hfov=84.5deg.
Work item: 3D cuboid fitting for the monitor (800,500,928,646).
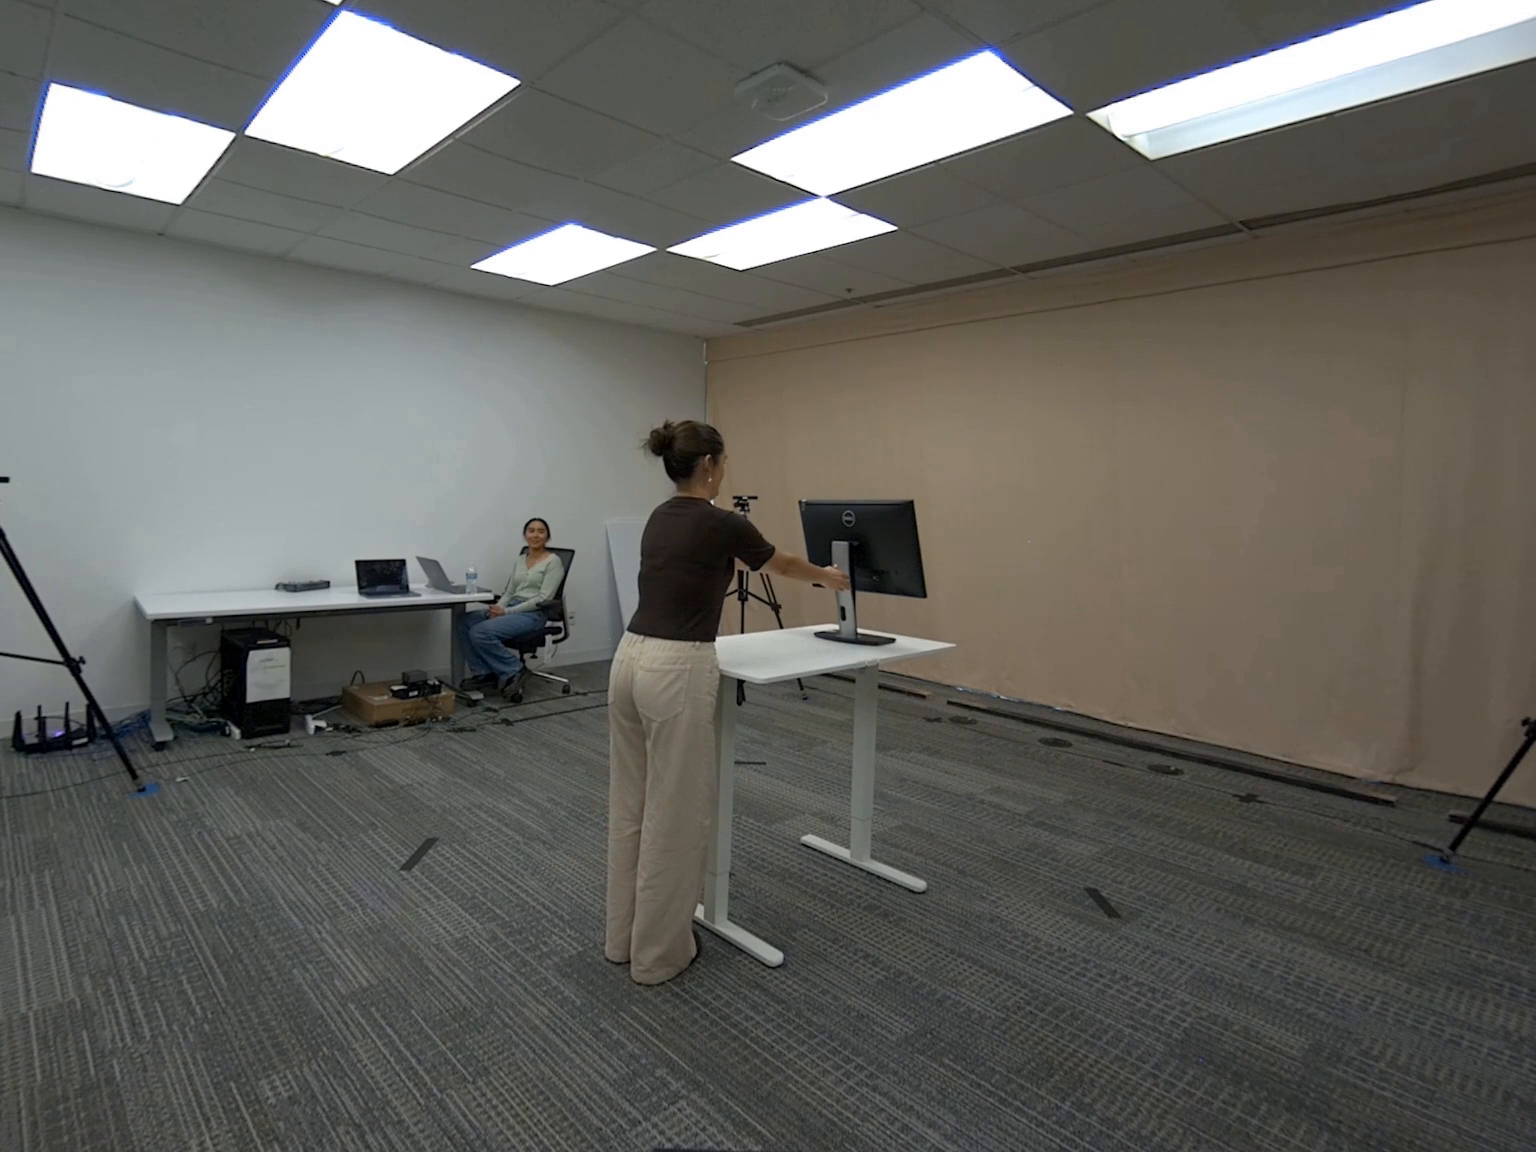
[{"bbox_3d":[0.310,-0.016,3.075,0.183,0.521,0.553,-5,7,-44],"label":"monitor"}]
